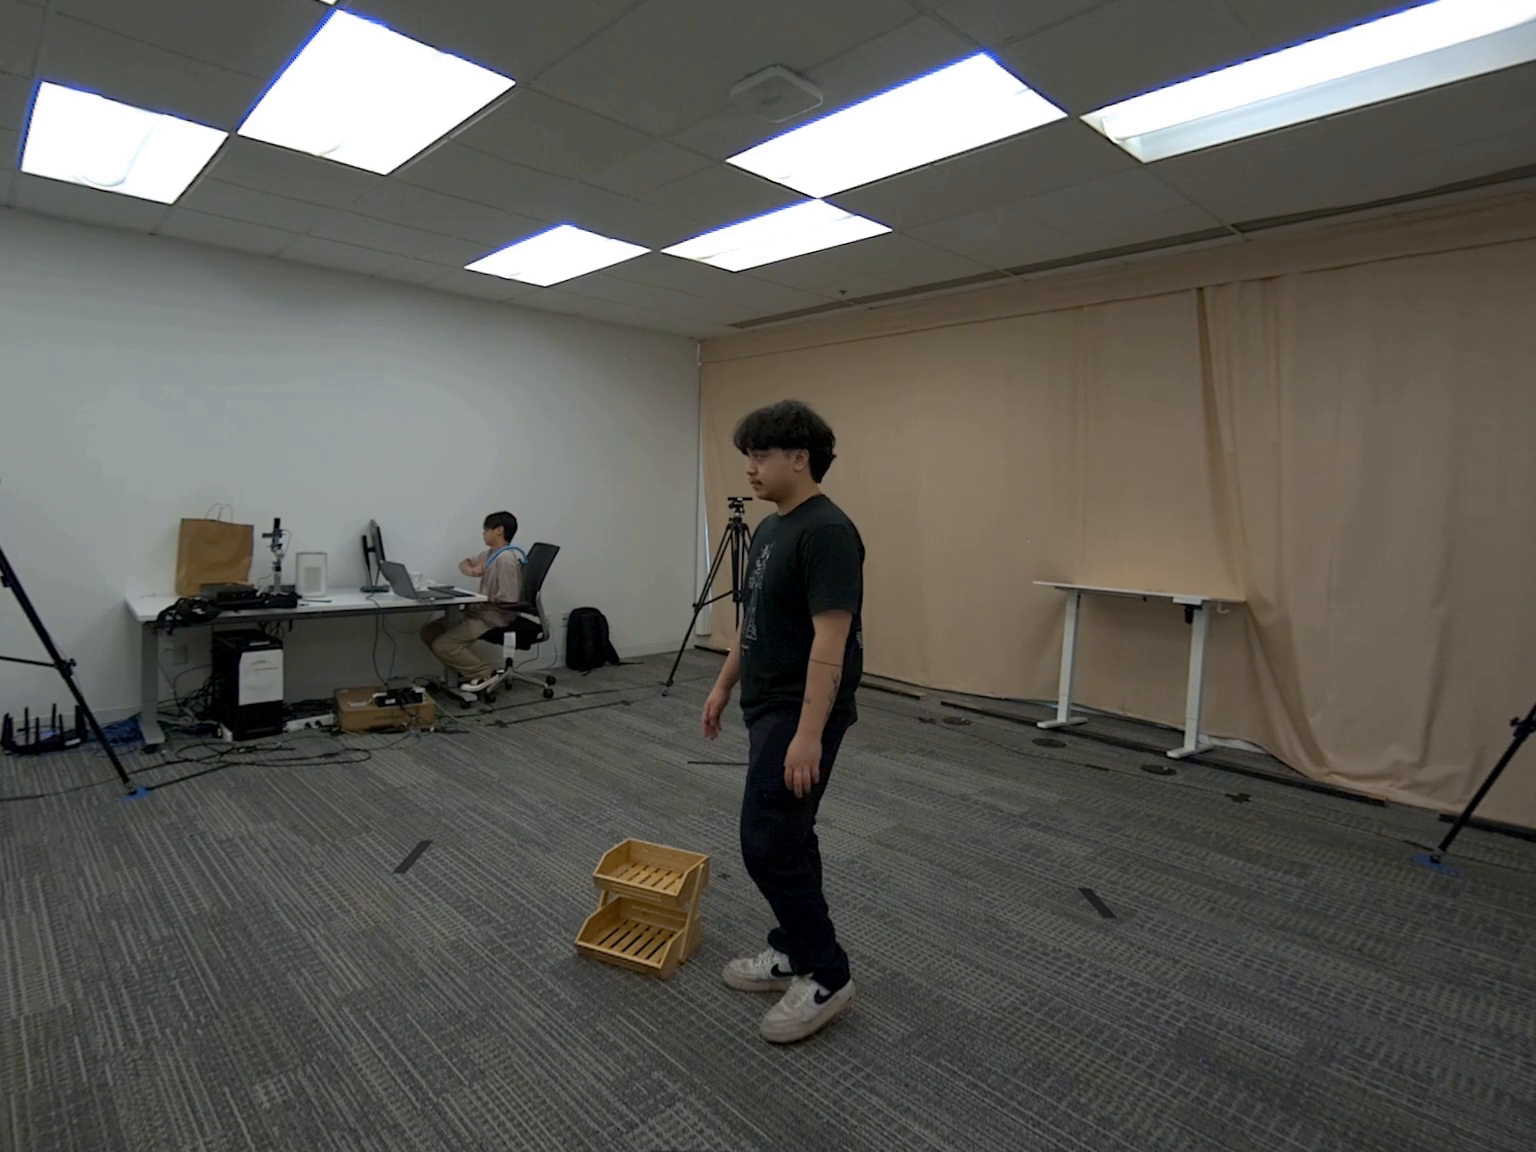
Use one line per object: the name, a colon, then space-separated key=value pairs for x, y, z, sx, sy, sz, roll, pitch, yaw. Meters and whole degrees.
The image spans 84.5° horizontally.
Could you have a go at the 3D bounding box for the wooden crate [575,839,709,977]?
wooden crate: x=-0.393 y=1.018 z=2.590 sx=0.330 sy=0.273 sz=0.297 roll=3 pitch=4 yaw=24
